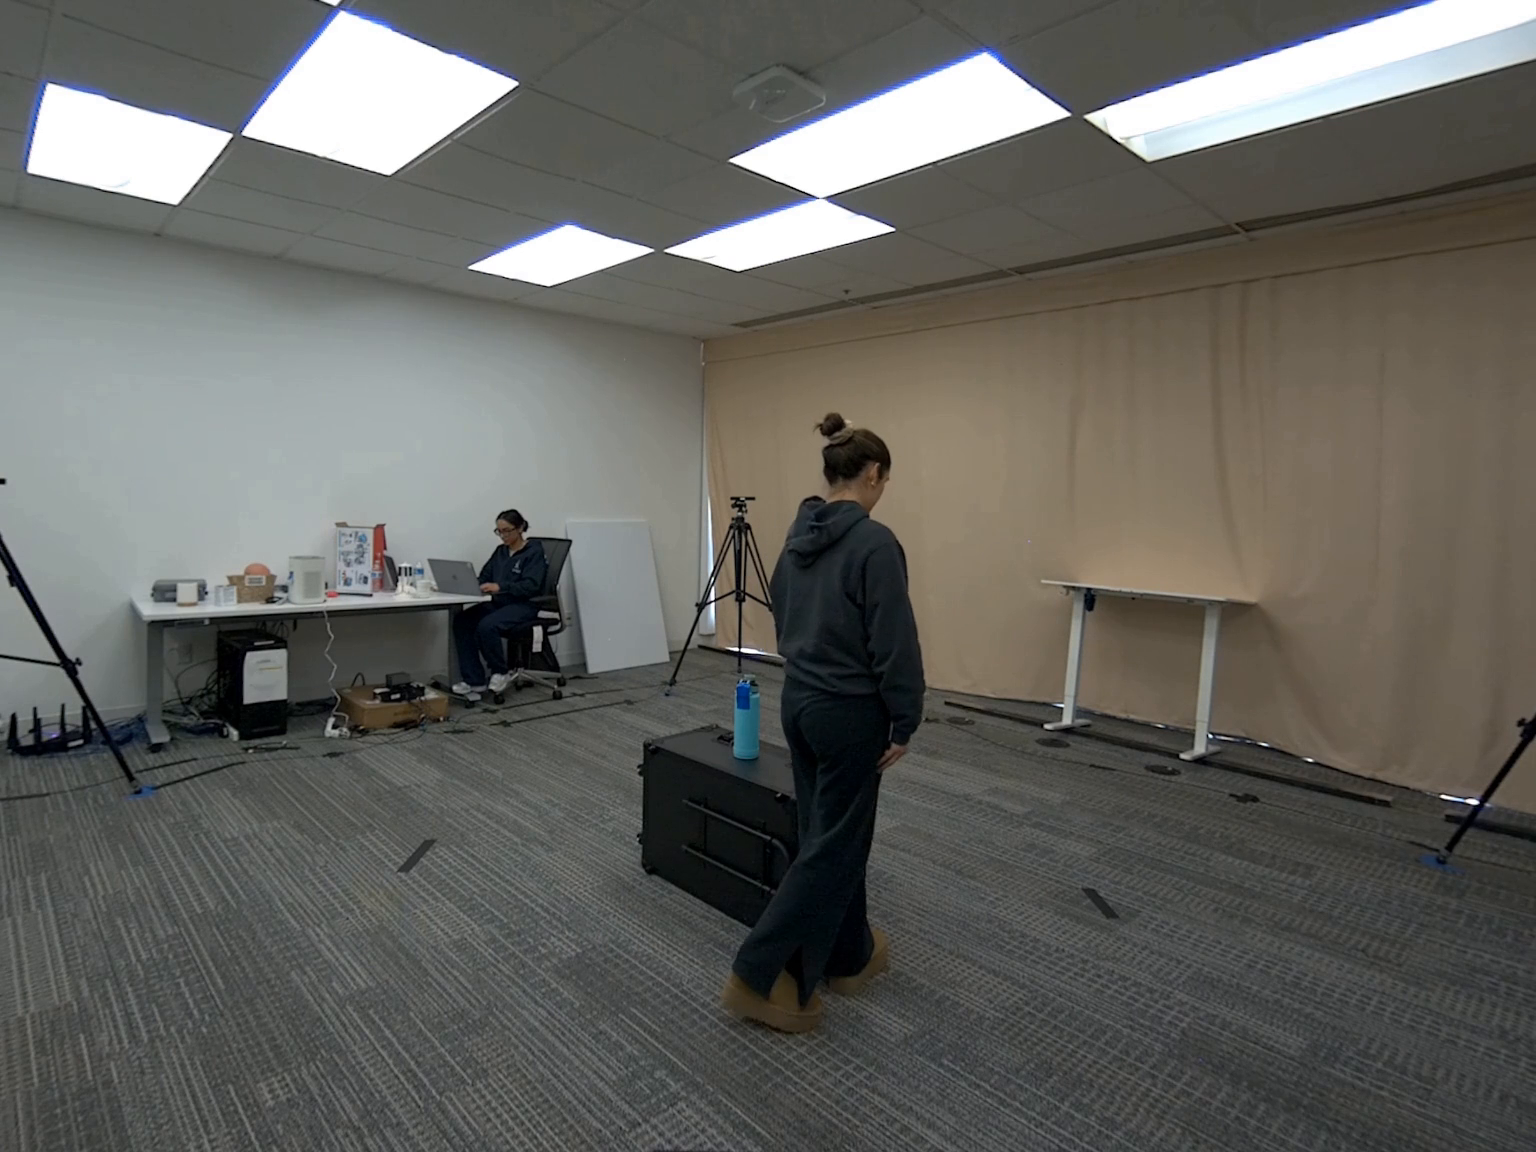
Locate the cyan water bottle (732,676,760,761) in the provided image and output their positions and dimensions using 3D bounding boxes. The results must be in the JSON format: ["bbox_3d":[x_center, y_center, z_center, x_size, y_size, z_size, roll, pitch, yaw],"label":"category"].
[{"bbox_3d":[-0.079,0.497,2.980,0.092,0.282,0.093,1,5,-2],"label":"cyan water bottle"}]
